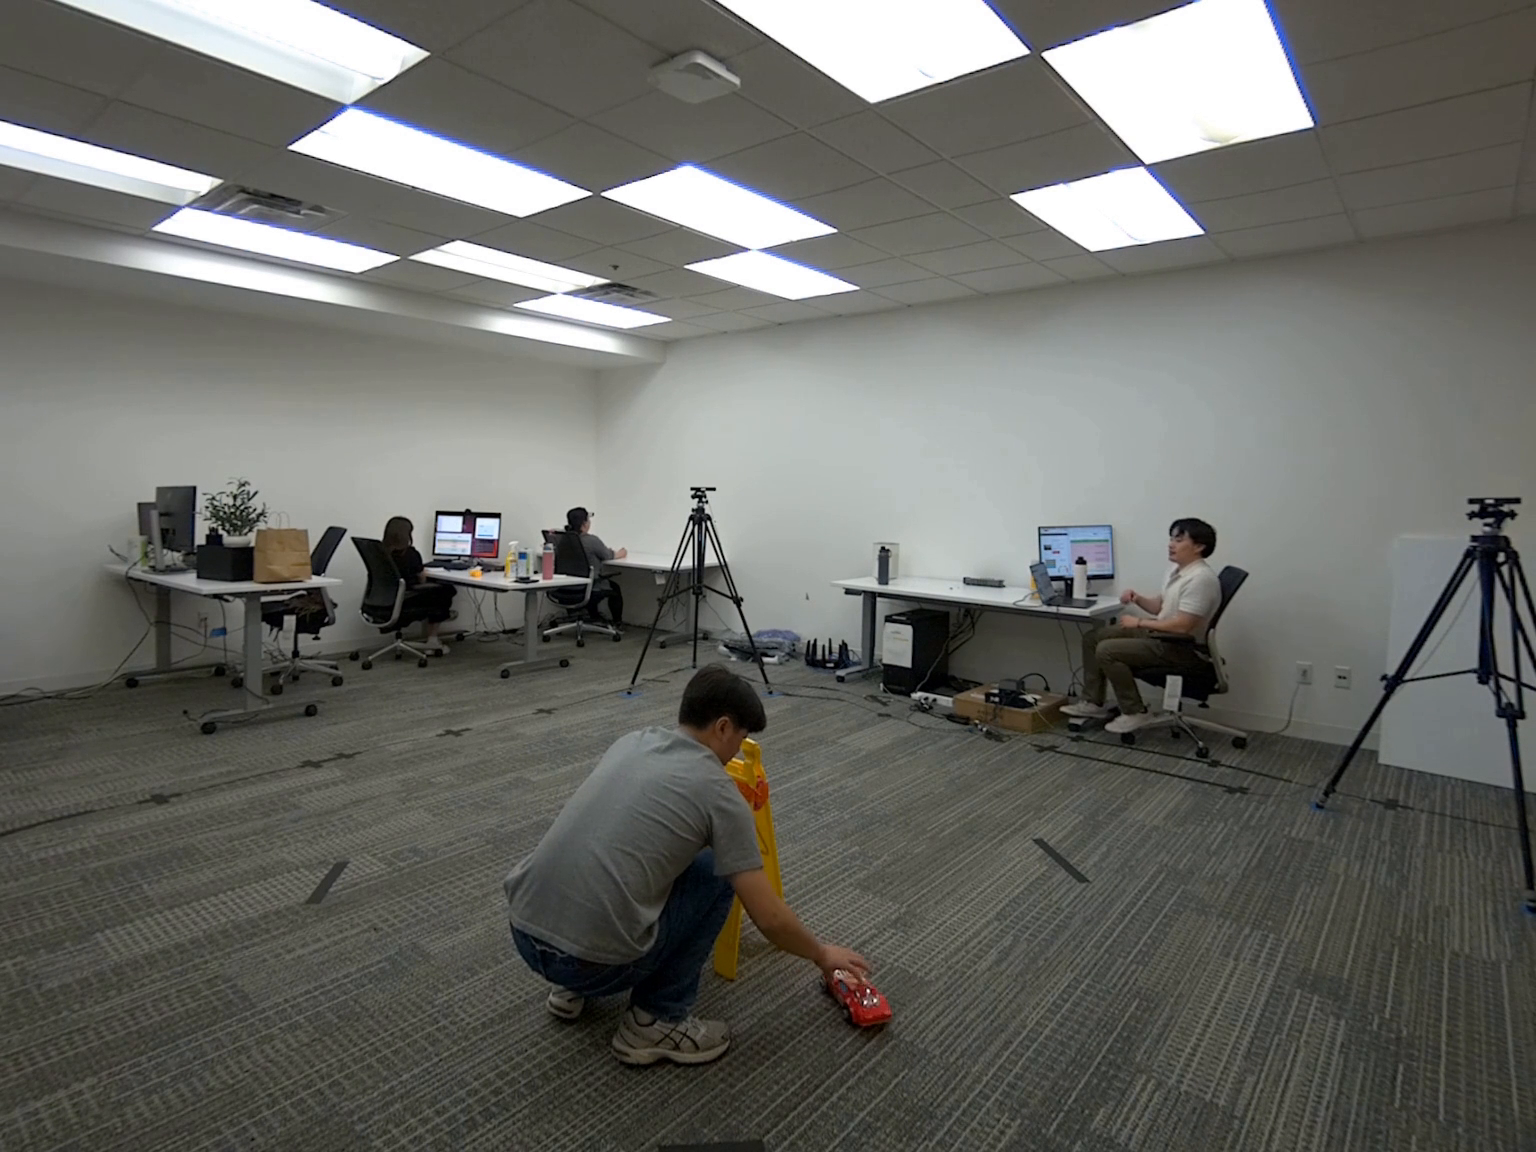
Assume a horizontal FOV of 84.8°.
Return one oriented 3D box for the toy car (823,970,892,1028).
[{"bbox_3d":[0.228,1.131,2.276,0.128,0.084,0.258,-1,-5,-20],"label":"toy car"}]
